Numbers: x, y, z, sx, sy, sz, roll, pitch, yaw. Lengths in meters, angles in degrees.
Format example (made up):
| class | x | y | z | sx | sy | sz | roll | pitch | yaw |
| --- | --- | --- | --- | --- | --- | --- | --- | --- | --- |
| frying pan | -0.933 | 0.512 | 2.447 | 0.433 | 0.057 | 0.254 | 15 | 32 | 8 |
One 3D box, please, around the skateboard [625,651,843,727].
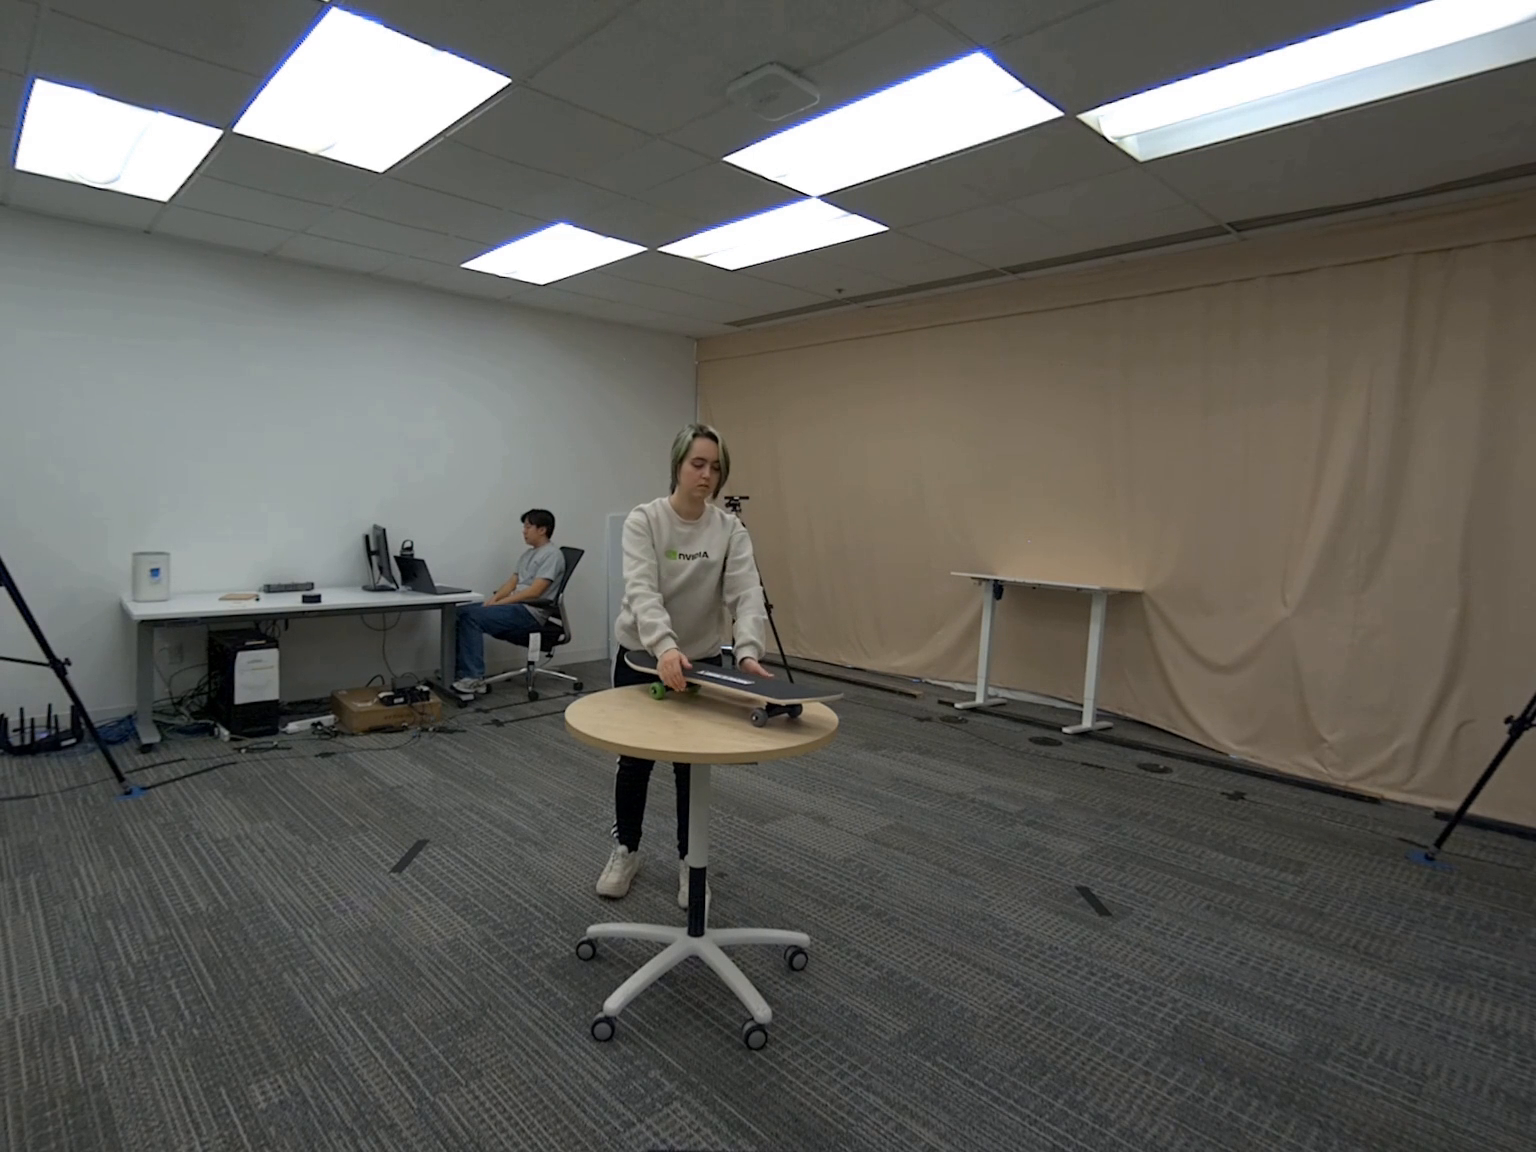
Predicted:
| class | x | y | z | sx | sy | sz | roll | pitch | yaw |
| --- | --- | --- | --- | --- | --- | --- | --- | --- | --- |
| skateboard | -0.138 | 0.333 | 2.434 | 0.806 | 0.110 | 0.189 | 6 | 4 | 41 |
